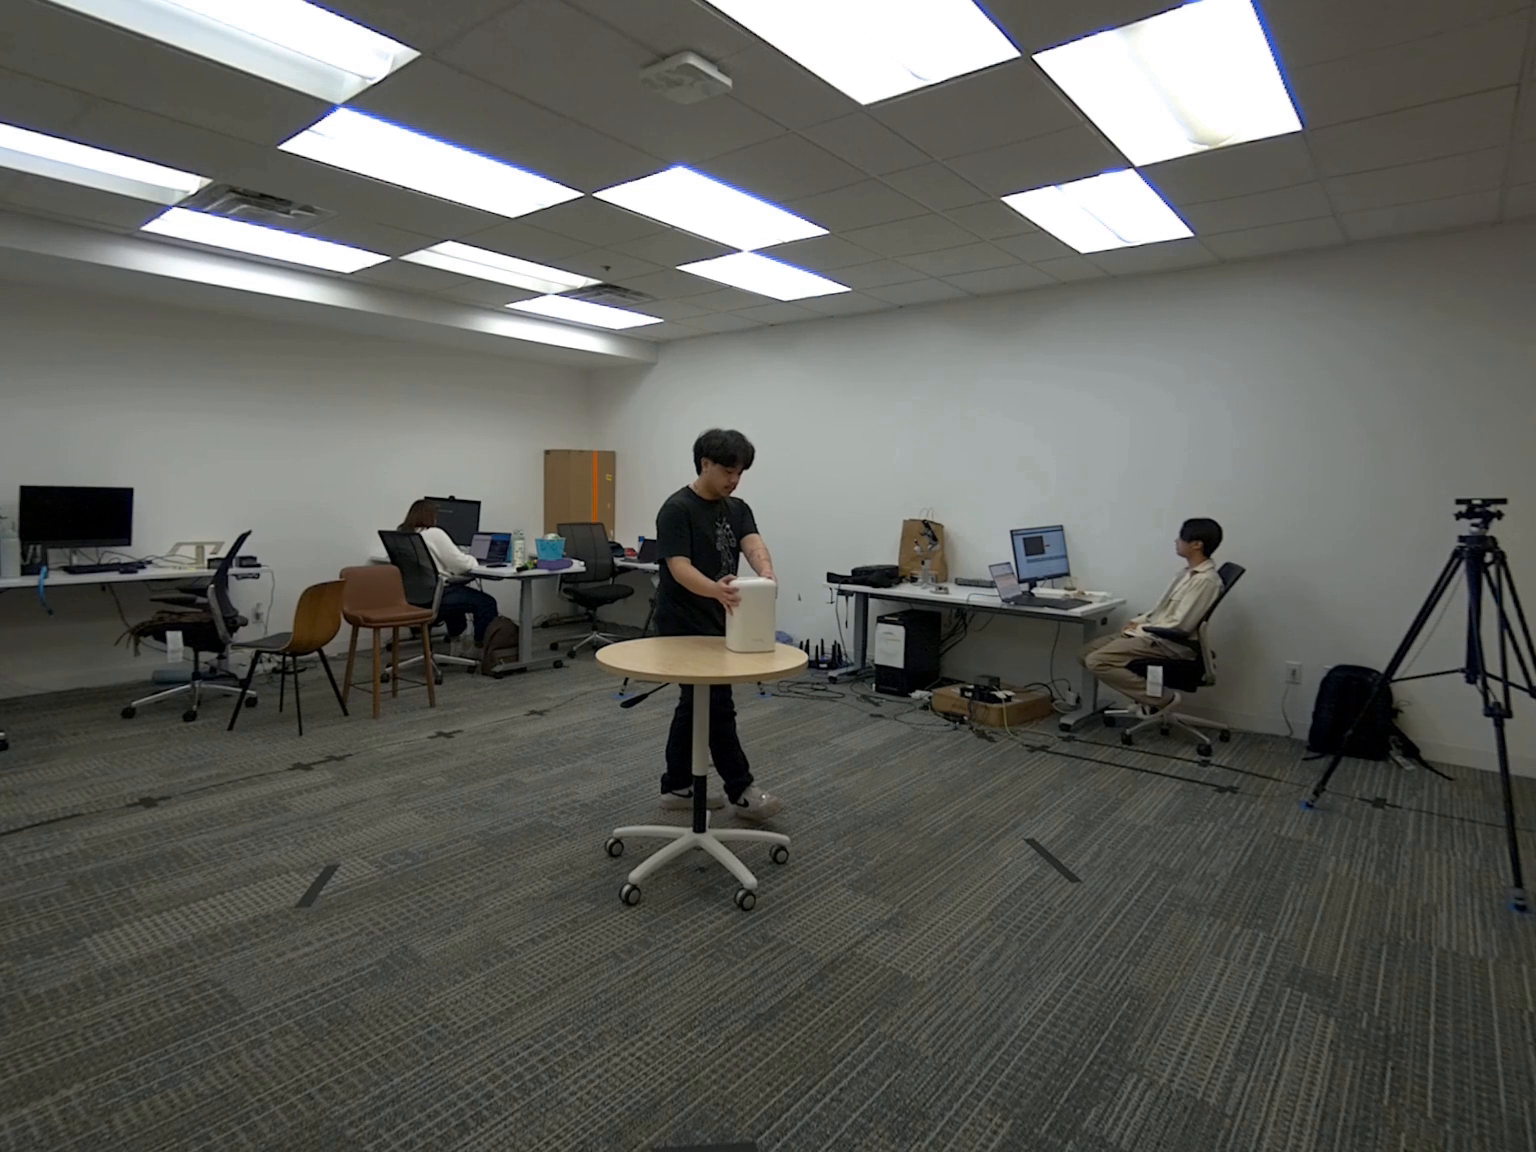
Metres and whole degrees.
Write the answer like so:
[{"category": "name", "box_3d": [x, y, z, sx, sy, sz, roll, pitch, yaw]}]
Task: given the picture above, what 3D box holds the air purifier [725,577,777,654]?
[{"category": "air purifier", "box_3d": [-0.078, 0.141, 3.183, 0.169, 0.265, 0.174, 2, 2, -11]}]
